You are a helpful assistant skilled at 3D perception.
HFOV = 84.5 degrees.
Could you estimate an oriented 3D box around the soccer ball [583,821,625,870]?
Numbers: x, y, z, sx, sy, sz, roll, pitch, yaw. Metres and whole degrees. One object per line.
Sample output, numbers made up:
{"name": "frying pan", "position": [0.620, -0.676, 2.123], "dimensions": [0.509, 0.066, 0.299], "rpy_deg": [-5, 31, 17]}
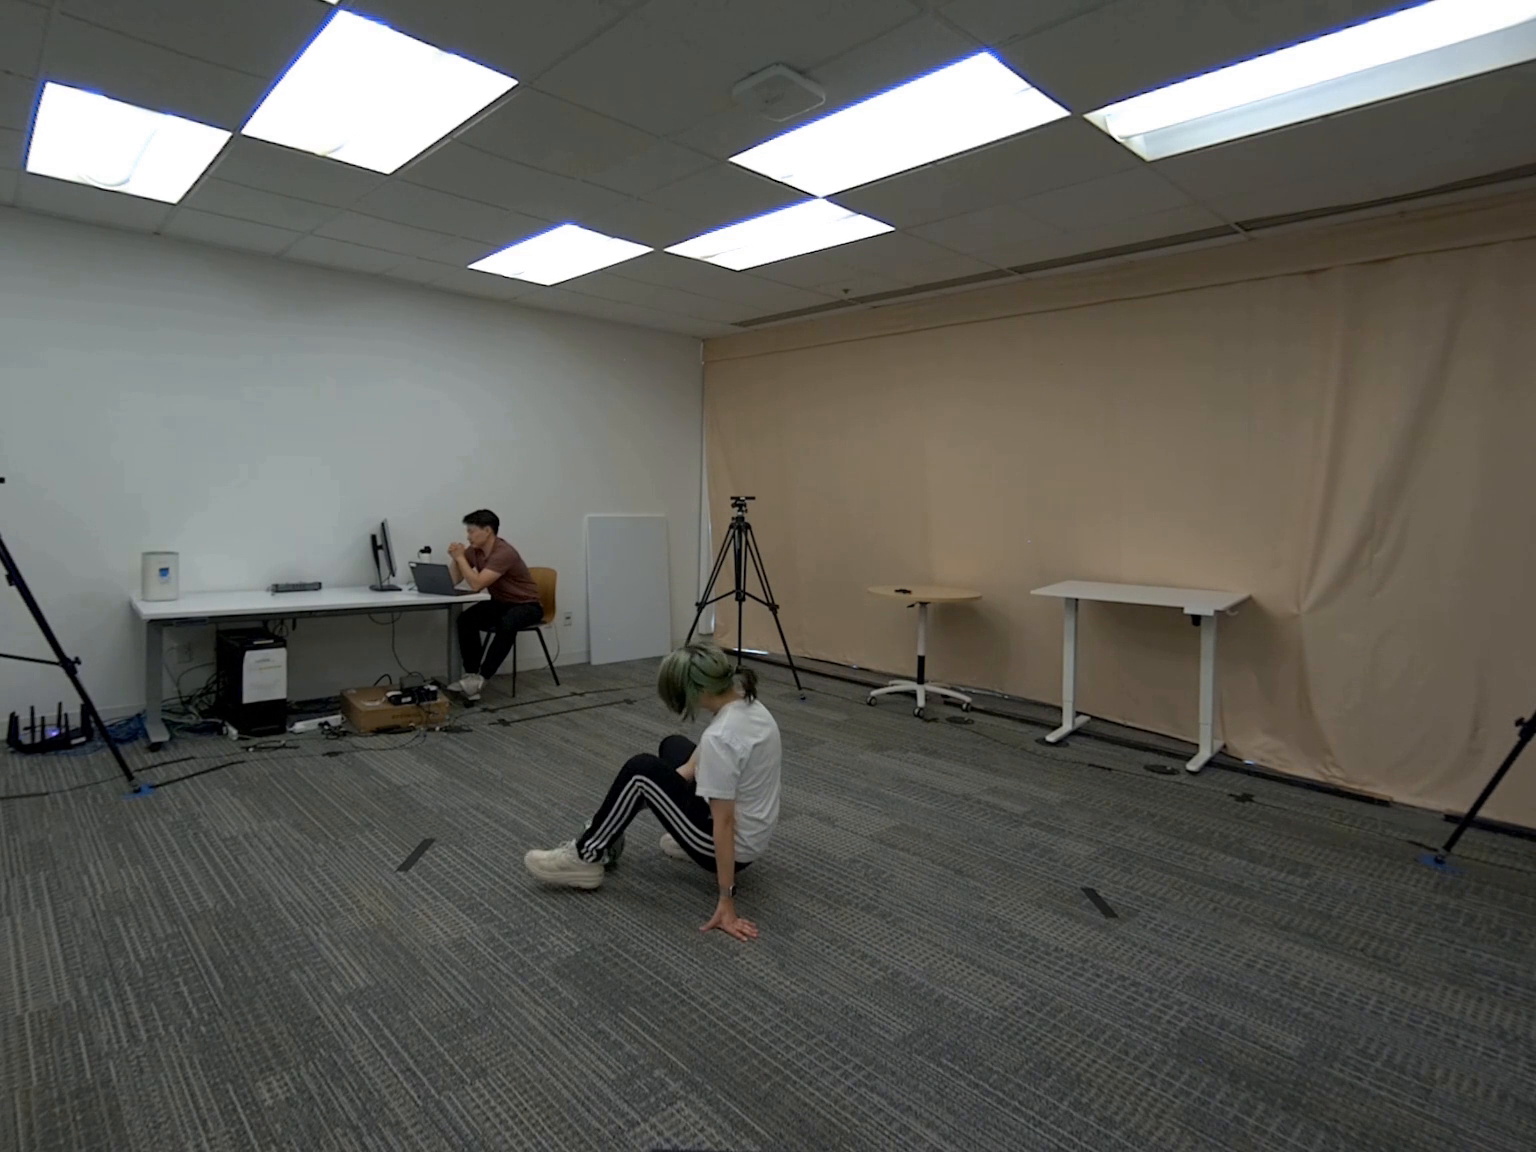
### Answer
{"name": "soccer ball", "position": [-0.623, 0.992, 3.164], "dimensions": [0.187, 0.187, 0.188], "rpy_deg": [1, 4, -1]}
